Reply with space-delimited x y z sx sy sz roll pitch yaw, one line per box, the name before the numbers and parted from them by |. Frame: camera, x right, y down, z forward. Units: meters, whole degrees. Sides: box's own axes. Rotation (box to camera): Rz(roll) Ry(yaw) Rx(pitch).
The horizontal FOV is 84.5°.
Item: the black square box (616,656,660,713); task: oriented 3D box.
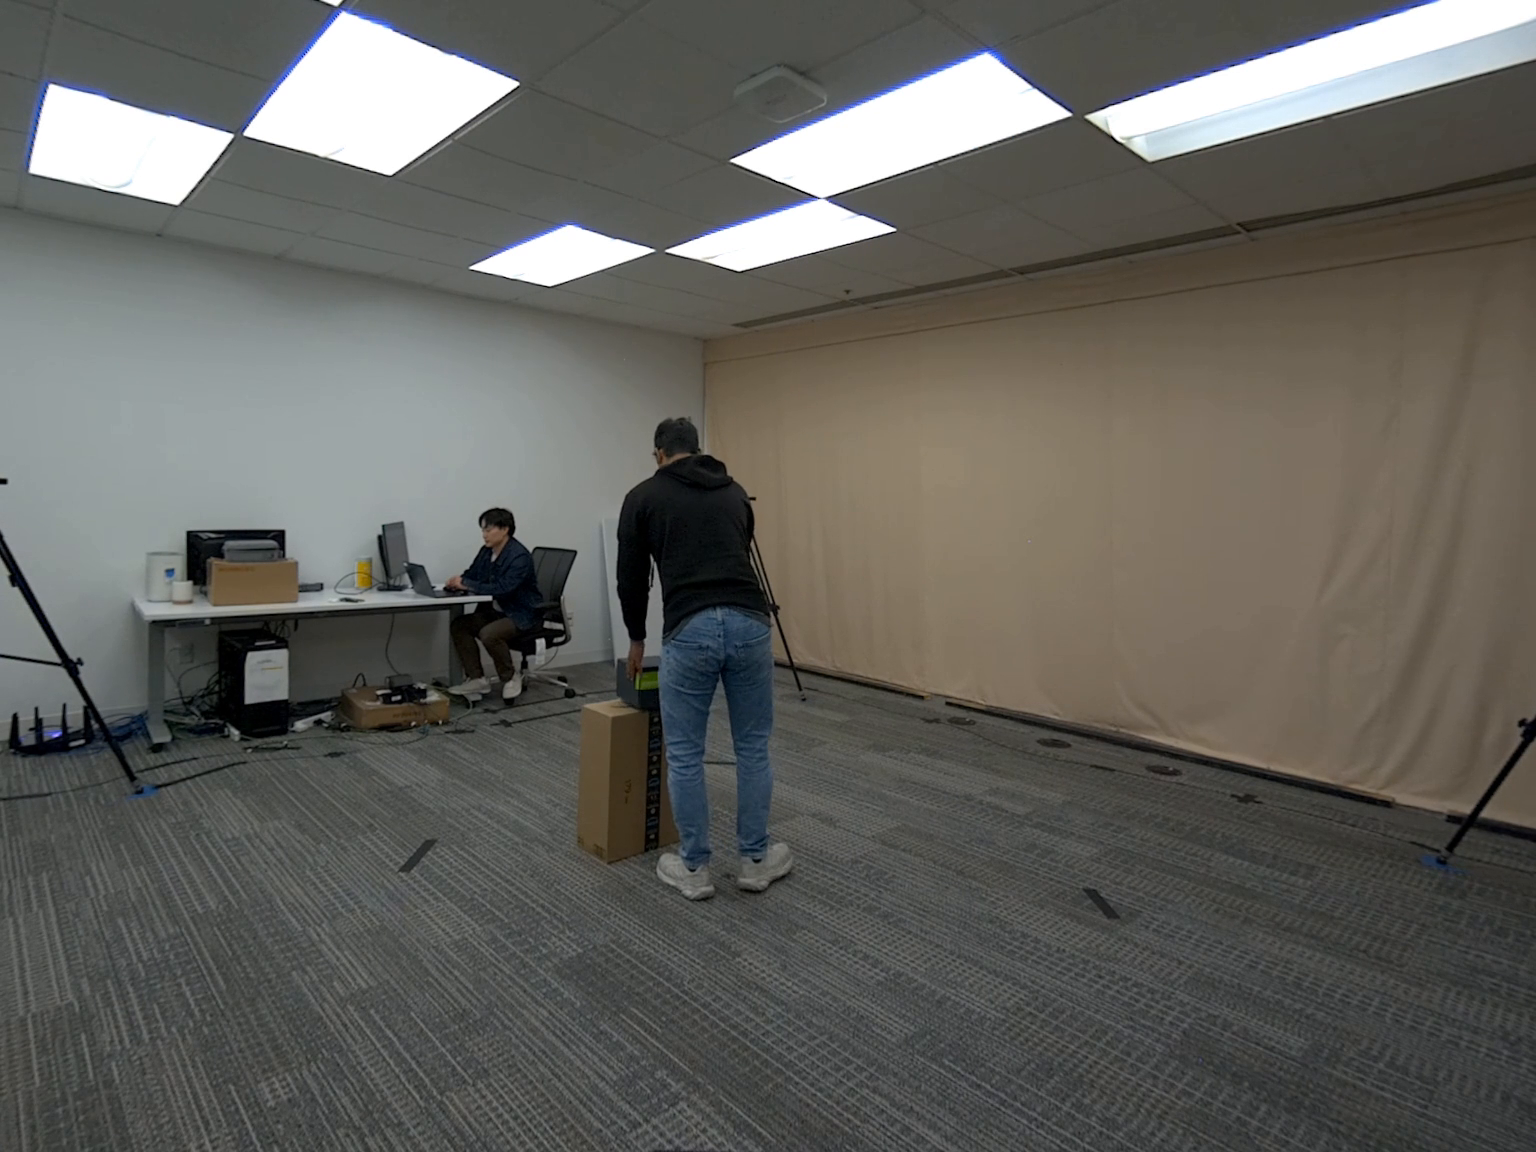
black square box | -0.448 0.415 3.360 0.223 0.155 0.222 -1 5 -33
